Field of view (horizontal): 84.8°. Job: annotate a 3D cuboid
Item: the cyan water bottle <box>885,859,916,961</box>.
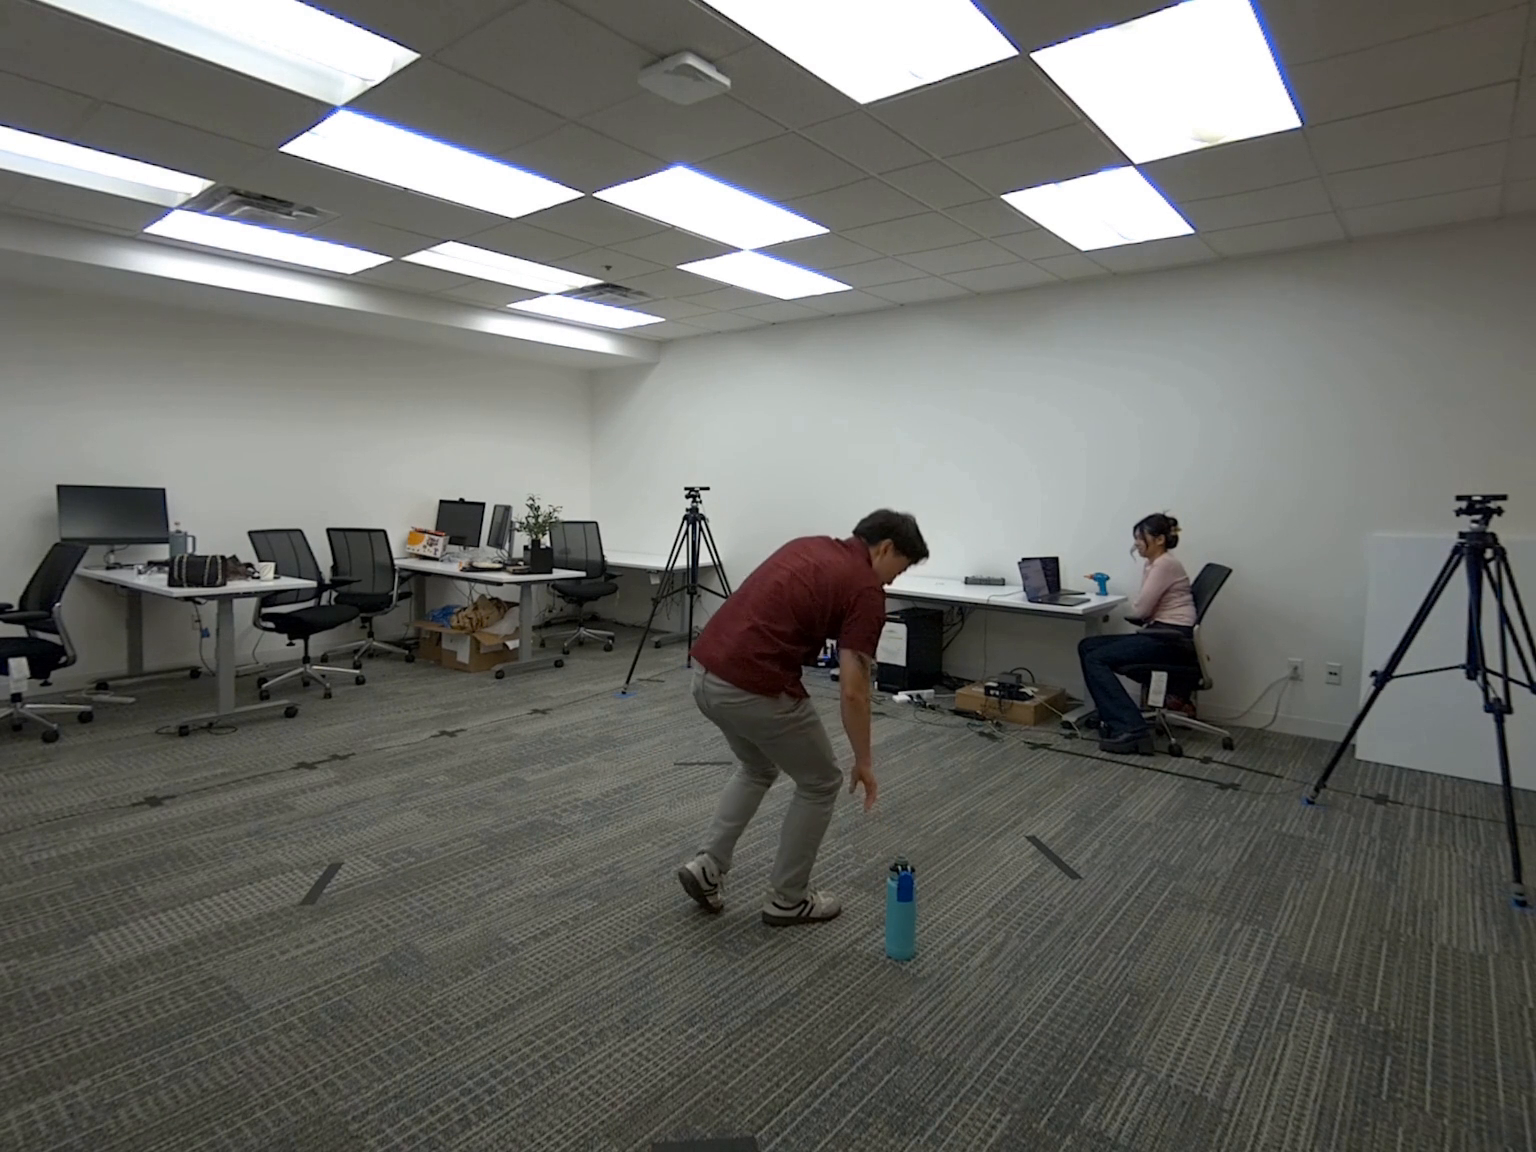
[{"bbox_3d":[0.397,0.992,2.559,0.092,0.282,0.093,2,4,-2],"label":"cyan water bottle"}]
